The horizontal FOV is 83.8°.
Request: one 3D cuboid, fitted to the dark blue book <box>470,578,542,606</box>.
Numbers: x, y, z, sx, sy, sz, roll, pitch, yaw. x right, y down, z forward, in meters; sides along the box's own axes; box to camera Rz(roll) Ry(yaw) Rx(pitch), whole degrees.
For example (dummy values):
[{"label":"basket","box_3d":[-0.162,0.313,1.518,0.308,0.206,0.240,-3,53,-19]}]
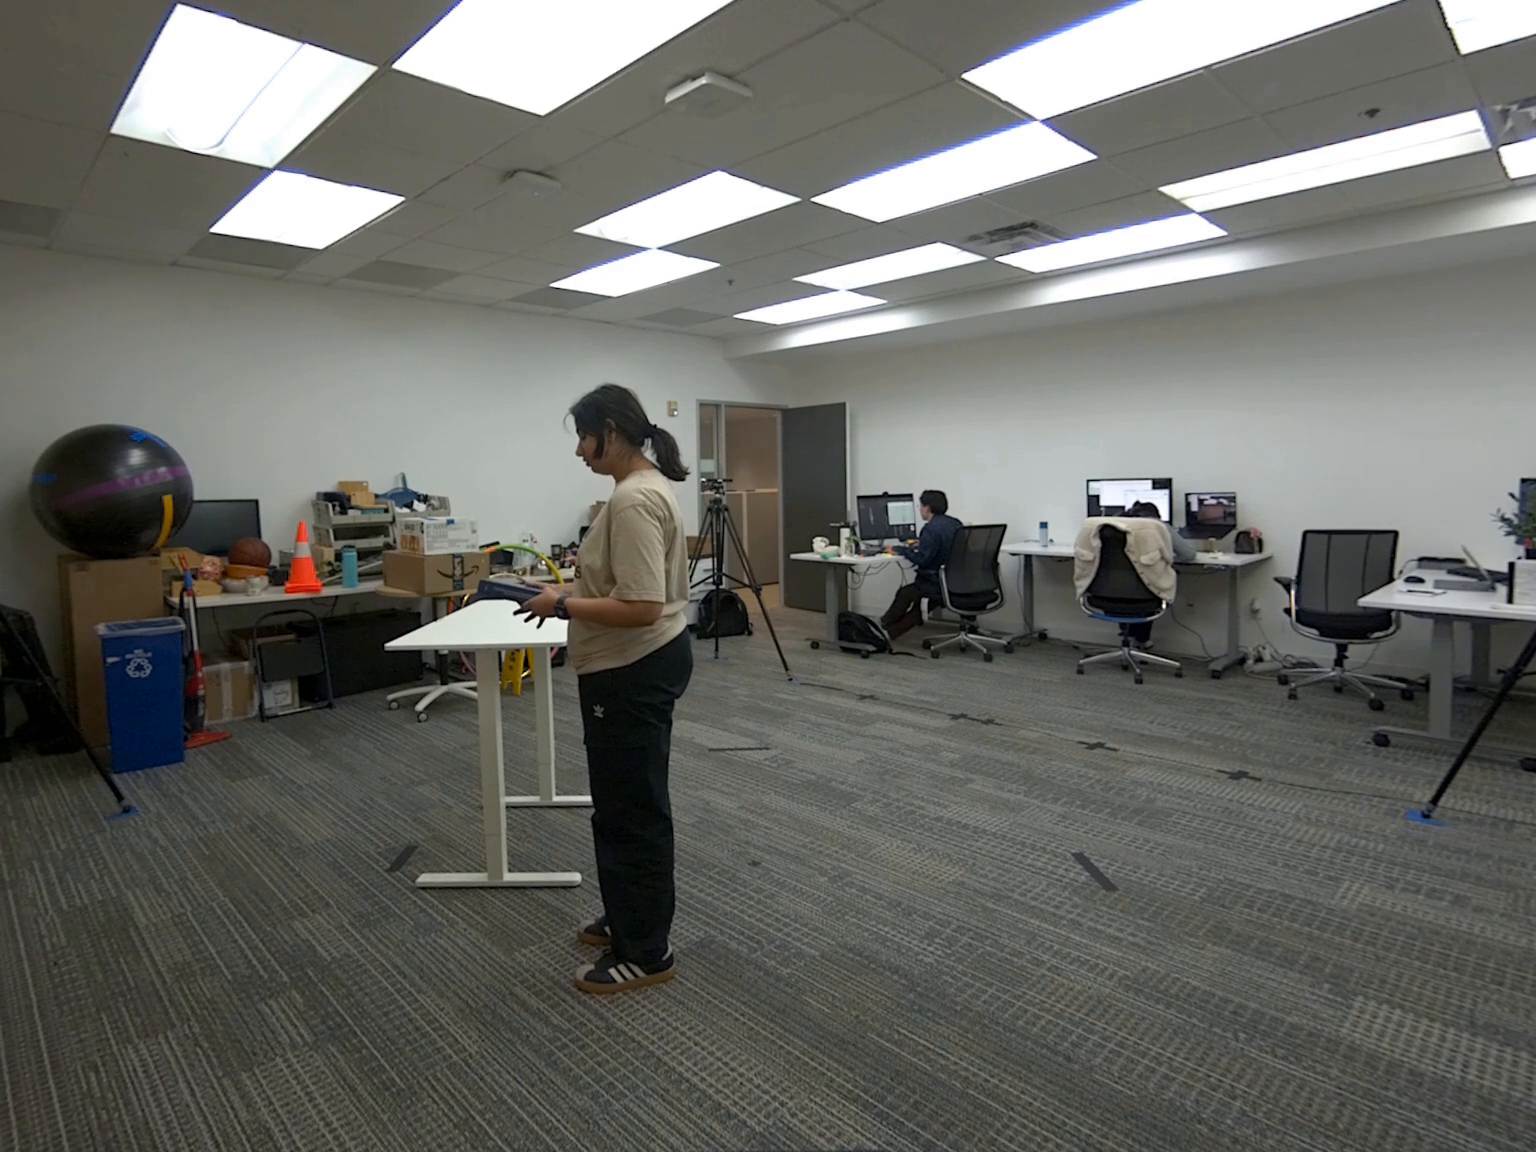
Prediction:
[{"label":"dark blue book","box_3d":[-0.690,0.051,2.443,0.242,0.045,0.165,10,1,-12]}]
